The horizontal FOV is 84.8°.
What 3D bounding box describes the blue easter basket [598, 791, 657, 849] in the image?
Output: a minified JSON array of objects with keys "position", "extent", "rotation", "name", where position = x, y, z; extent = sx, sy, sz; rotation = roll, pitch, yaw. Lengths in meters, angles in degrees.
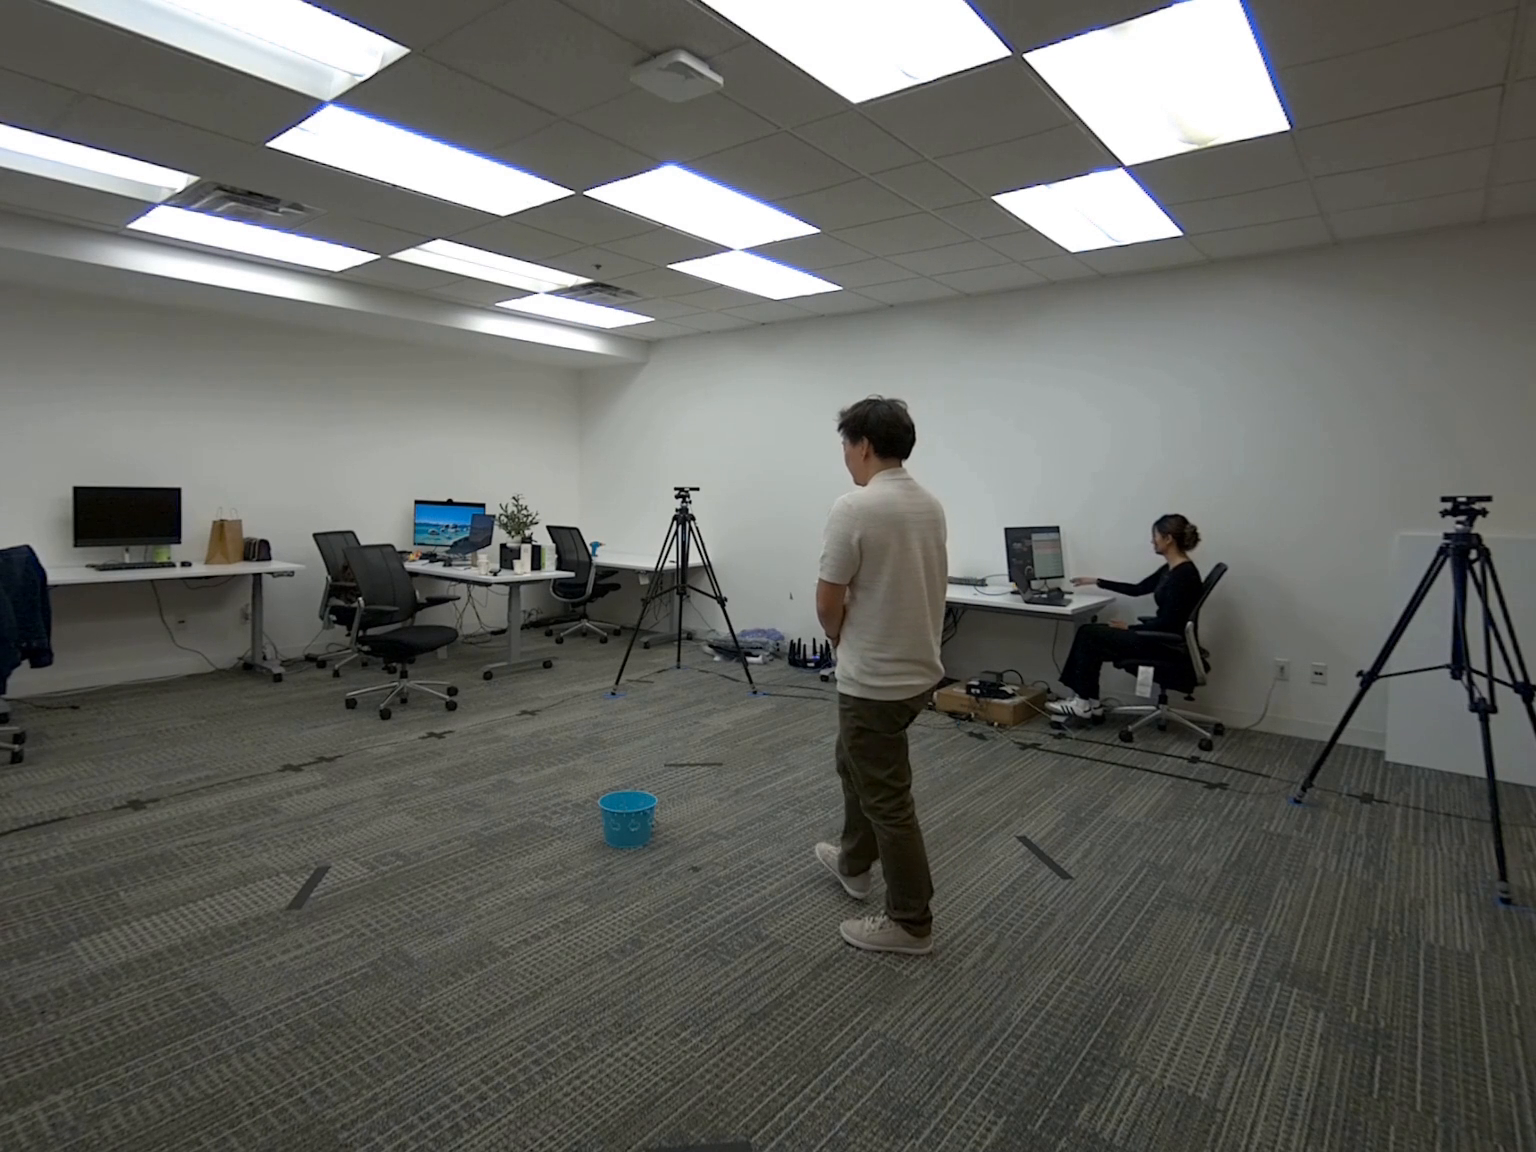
[{"position":[-0.560,0.956,3.362],"extent":[0.243,0.155,0.245],"rotation":[0,5,-2],"name":"blue easter basket"}]
